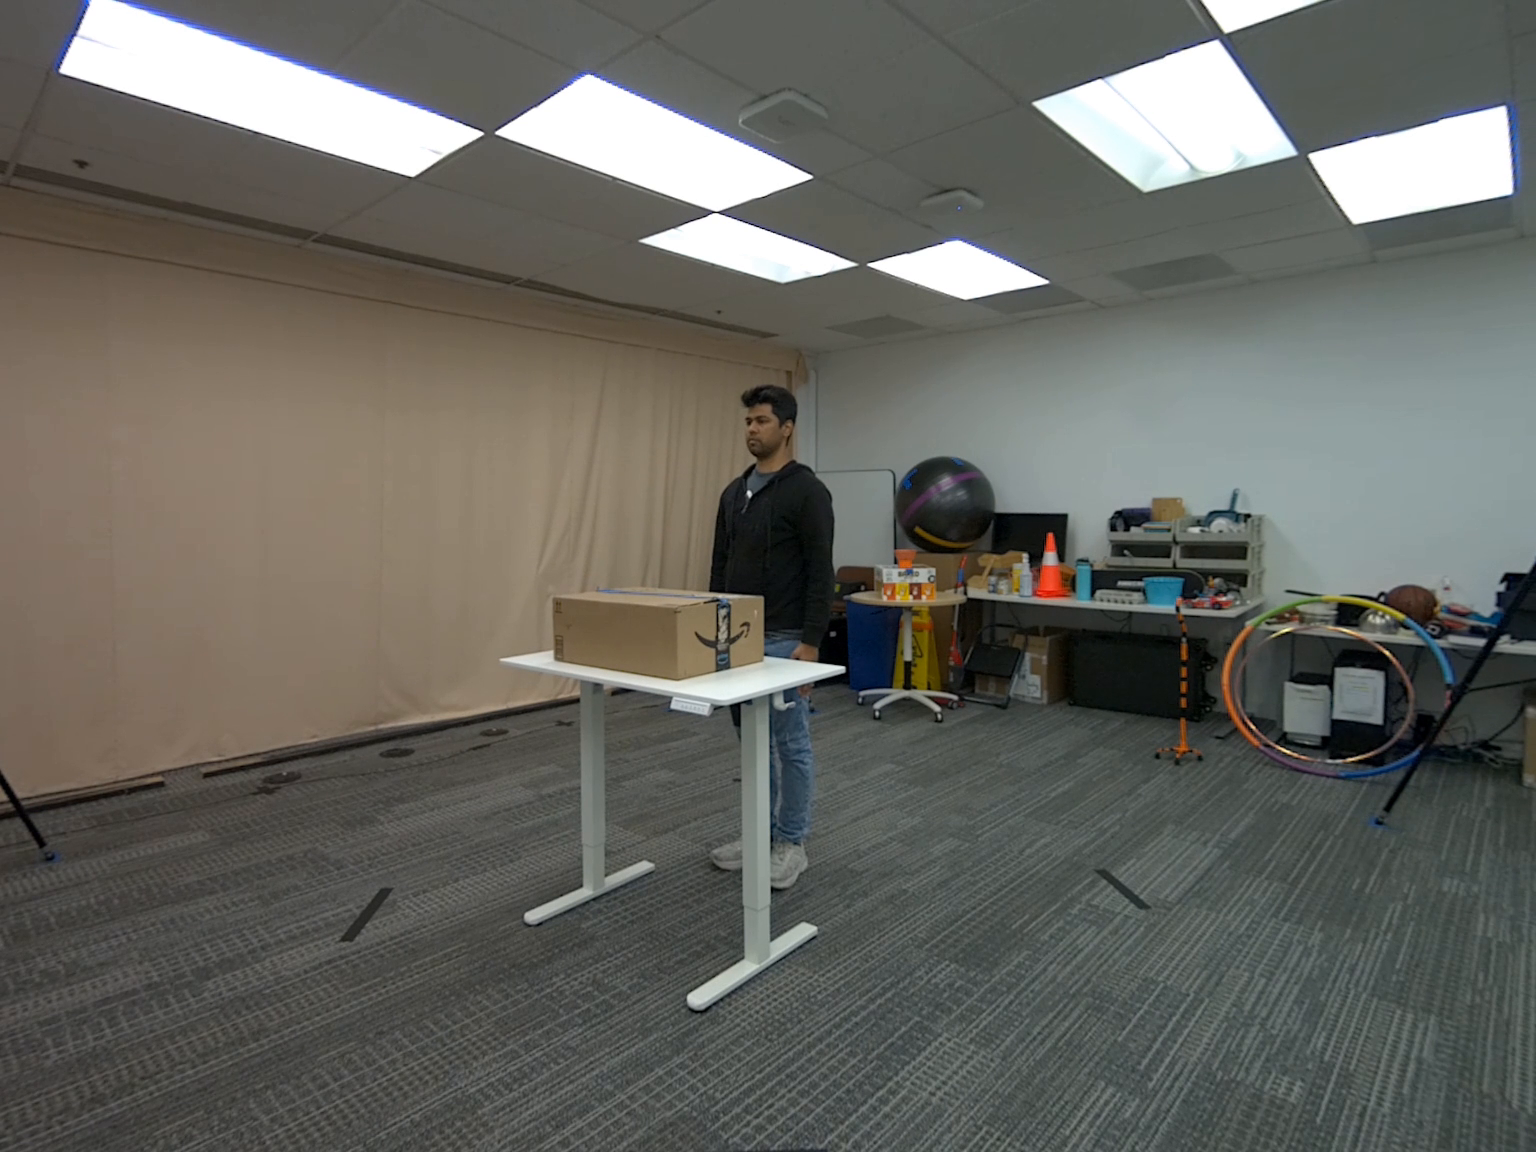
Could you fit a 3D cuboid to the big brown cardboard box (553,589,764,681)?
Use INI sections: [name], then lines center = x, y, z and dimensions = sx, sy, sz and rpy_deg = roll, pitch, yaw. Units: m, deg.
[big brown cardboard box]
center = -0.355, 0.171, 2.782
dimensions = 0.608, 0.233, 0.405
rpy_deg = 2, 5, 39
